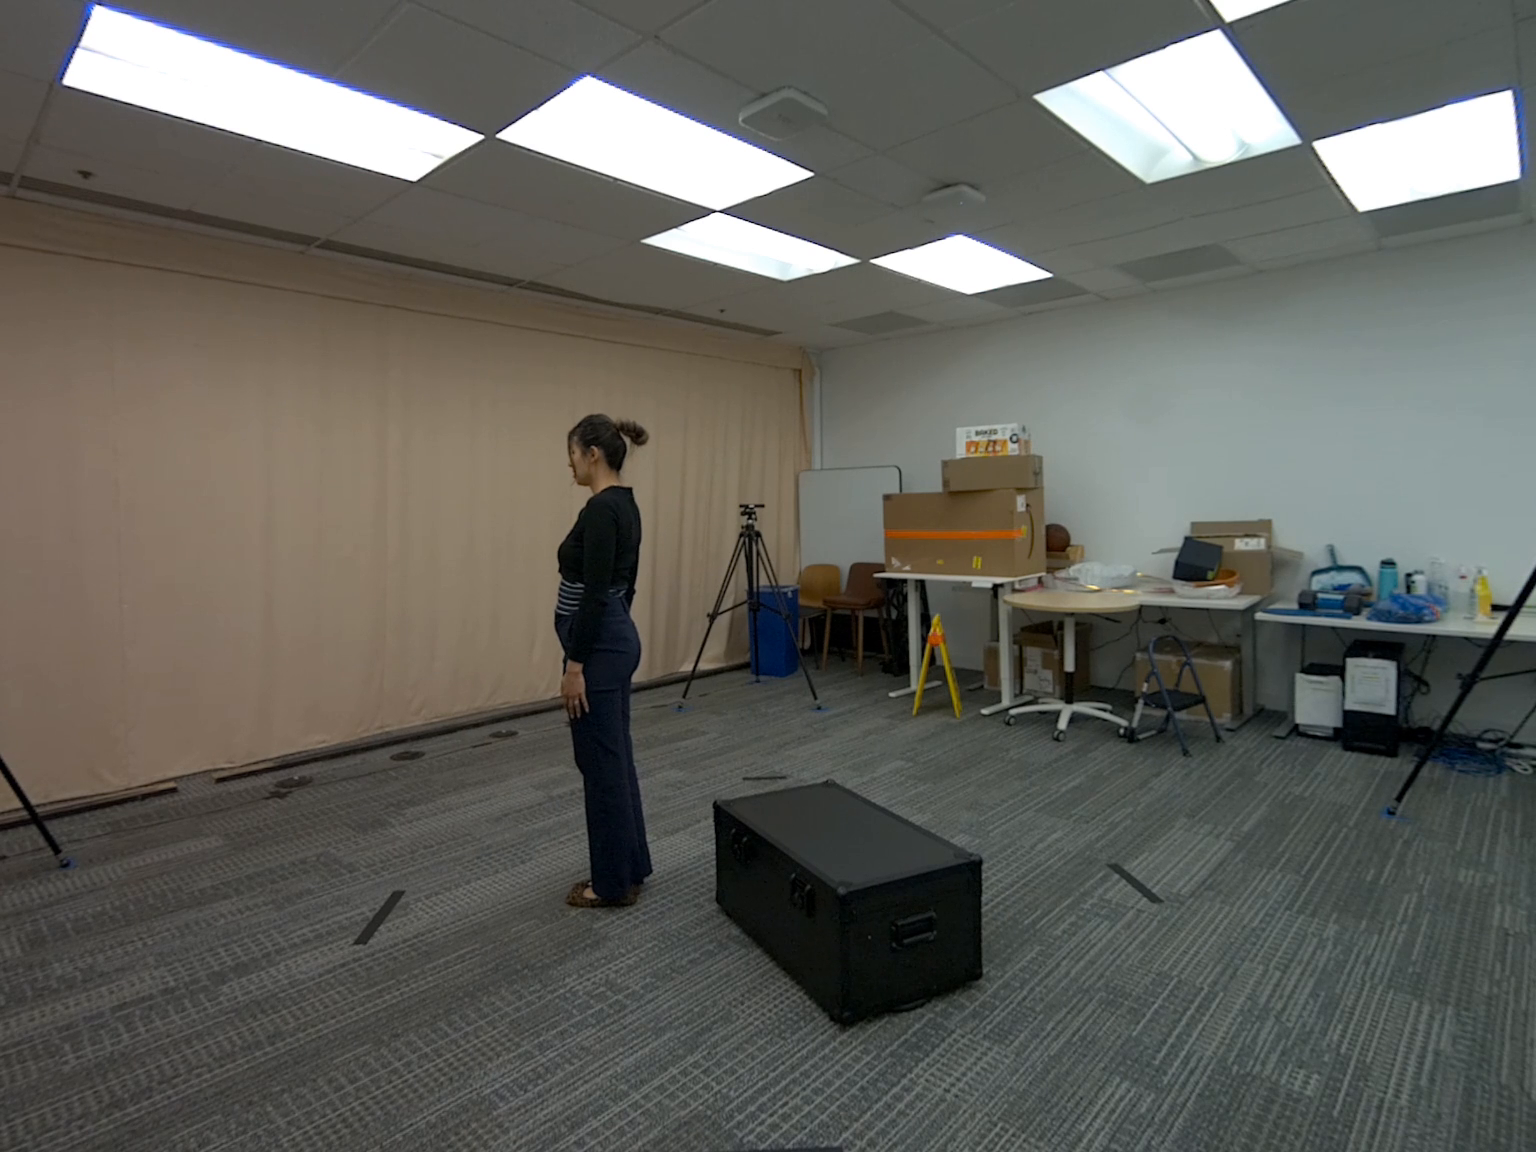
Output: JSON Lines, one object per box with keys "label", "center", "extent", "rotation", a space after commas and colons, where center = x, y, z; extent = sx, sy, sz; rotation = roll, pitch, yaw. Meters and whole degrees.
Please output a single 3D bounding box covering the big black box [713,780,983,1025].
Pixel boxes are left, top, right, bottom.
{"label": "big black box", "center": [0.236, 0.979, 2.618], "extent": [0.508, 0.395, 0.885], "rotation": [-4, 5, -27]}
